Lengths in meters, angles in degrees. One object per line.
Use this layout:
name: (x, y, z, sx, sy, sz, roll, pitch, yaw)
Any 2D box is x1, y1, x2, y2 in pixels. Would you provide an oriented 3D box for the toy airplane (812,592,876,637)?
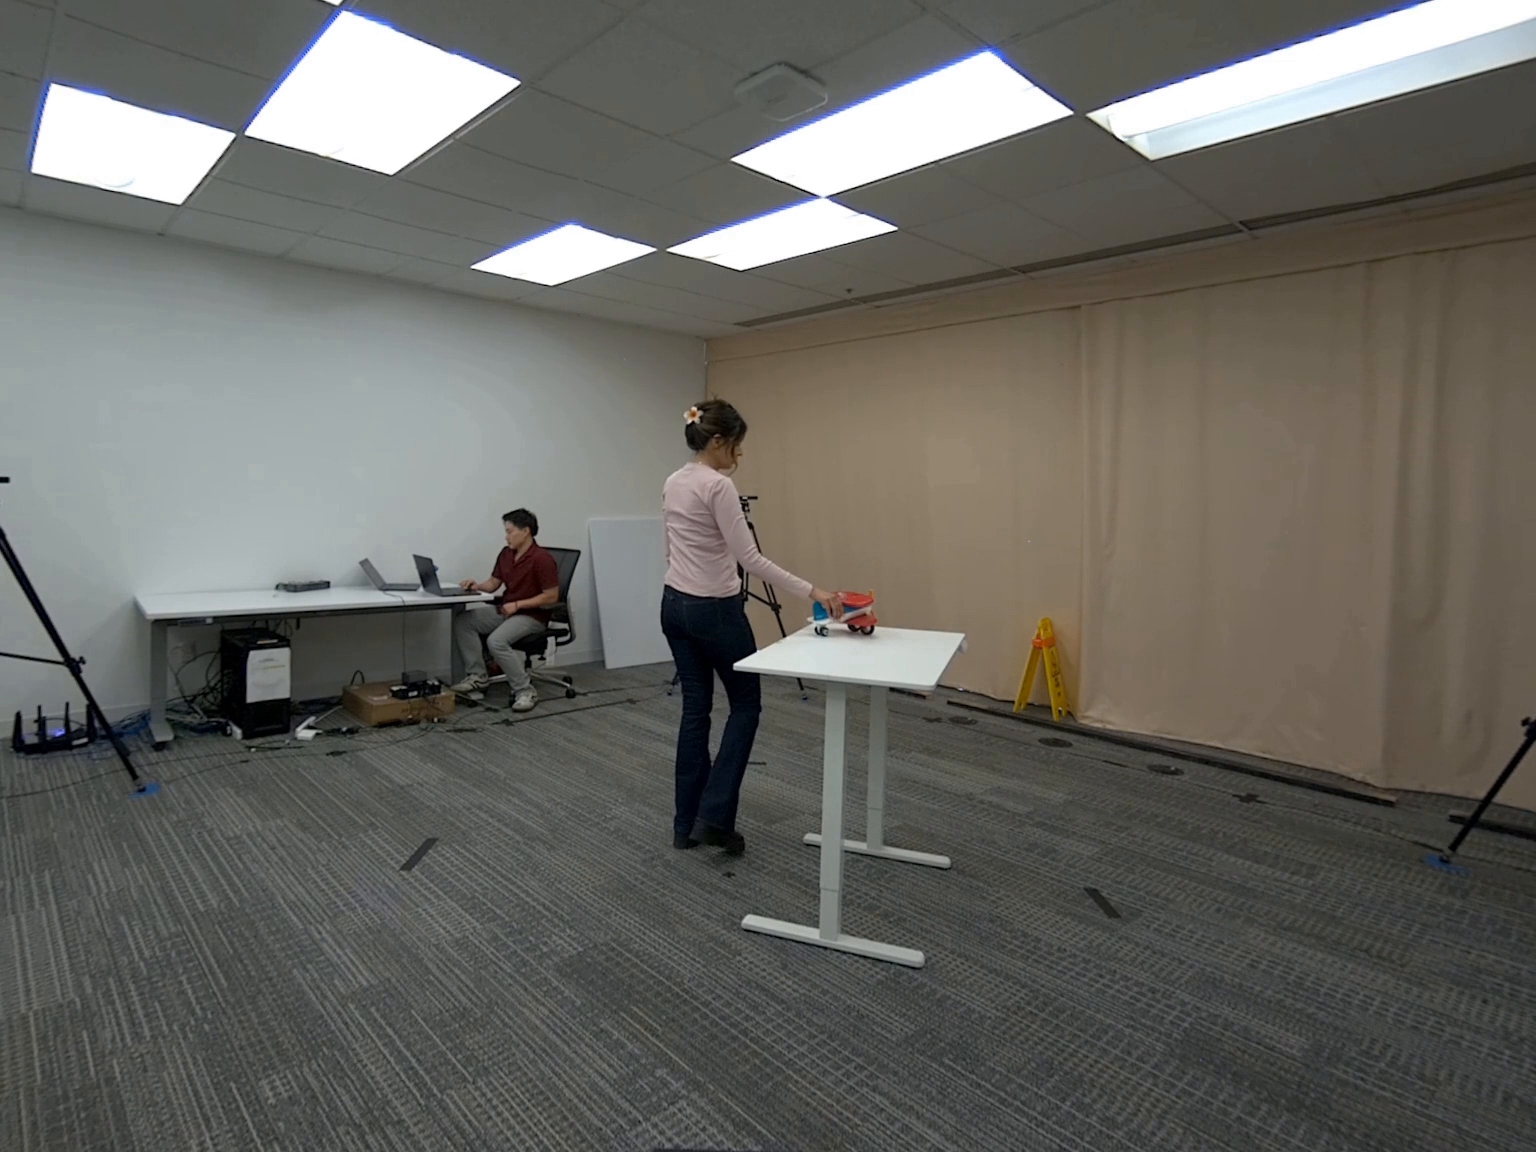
toy airplane: (0.286, 0.147, 3.189, 0.257, 0.156, 0.254, 3, 4, 36)
